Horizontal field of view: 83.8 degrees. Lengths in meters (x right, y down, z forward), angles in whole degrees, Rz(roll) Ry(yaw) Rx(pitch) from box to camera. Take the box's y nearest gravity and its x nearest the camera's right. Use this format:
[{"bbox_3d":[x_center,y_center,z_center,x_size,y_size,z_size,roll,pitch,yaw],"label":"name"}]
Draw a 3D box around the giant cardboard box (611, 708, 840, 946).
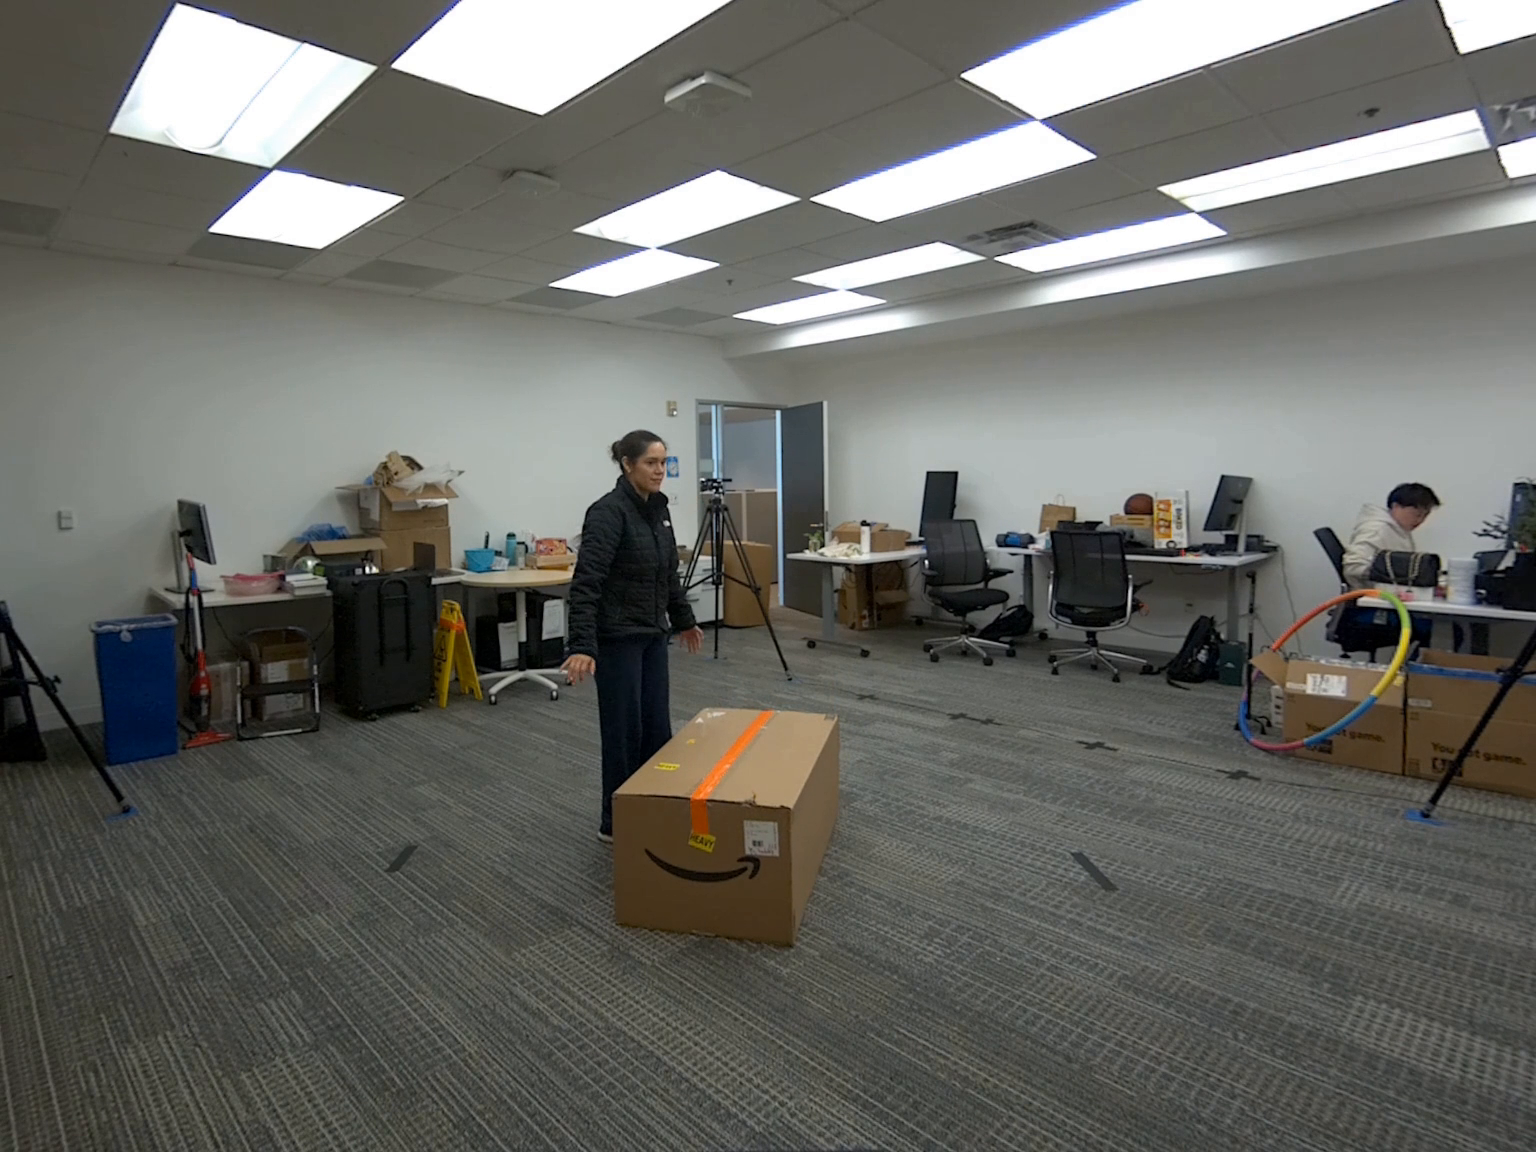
[{"bbox_3d":[-0.098,0.827,3.107,0.585,0.424,1.017,-1,6,13],"label":"giant cardboard box"}]
